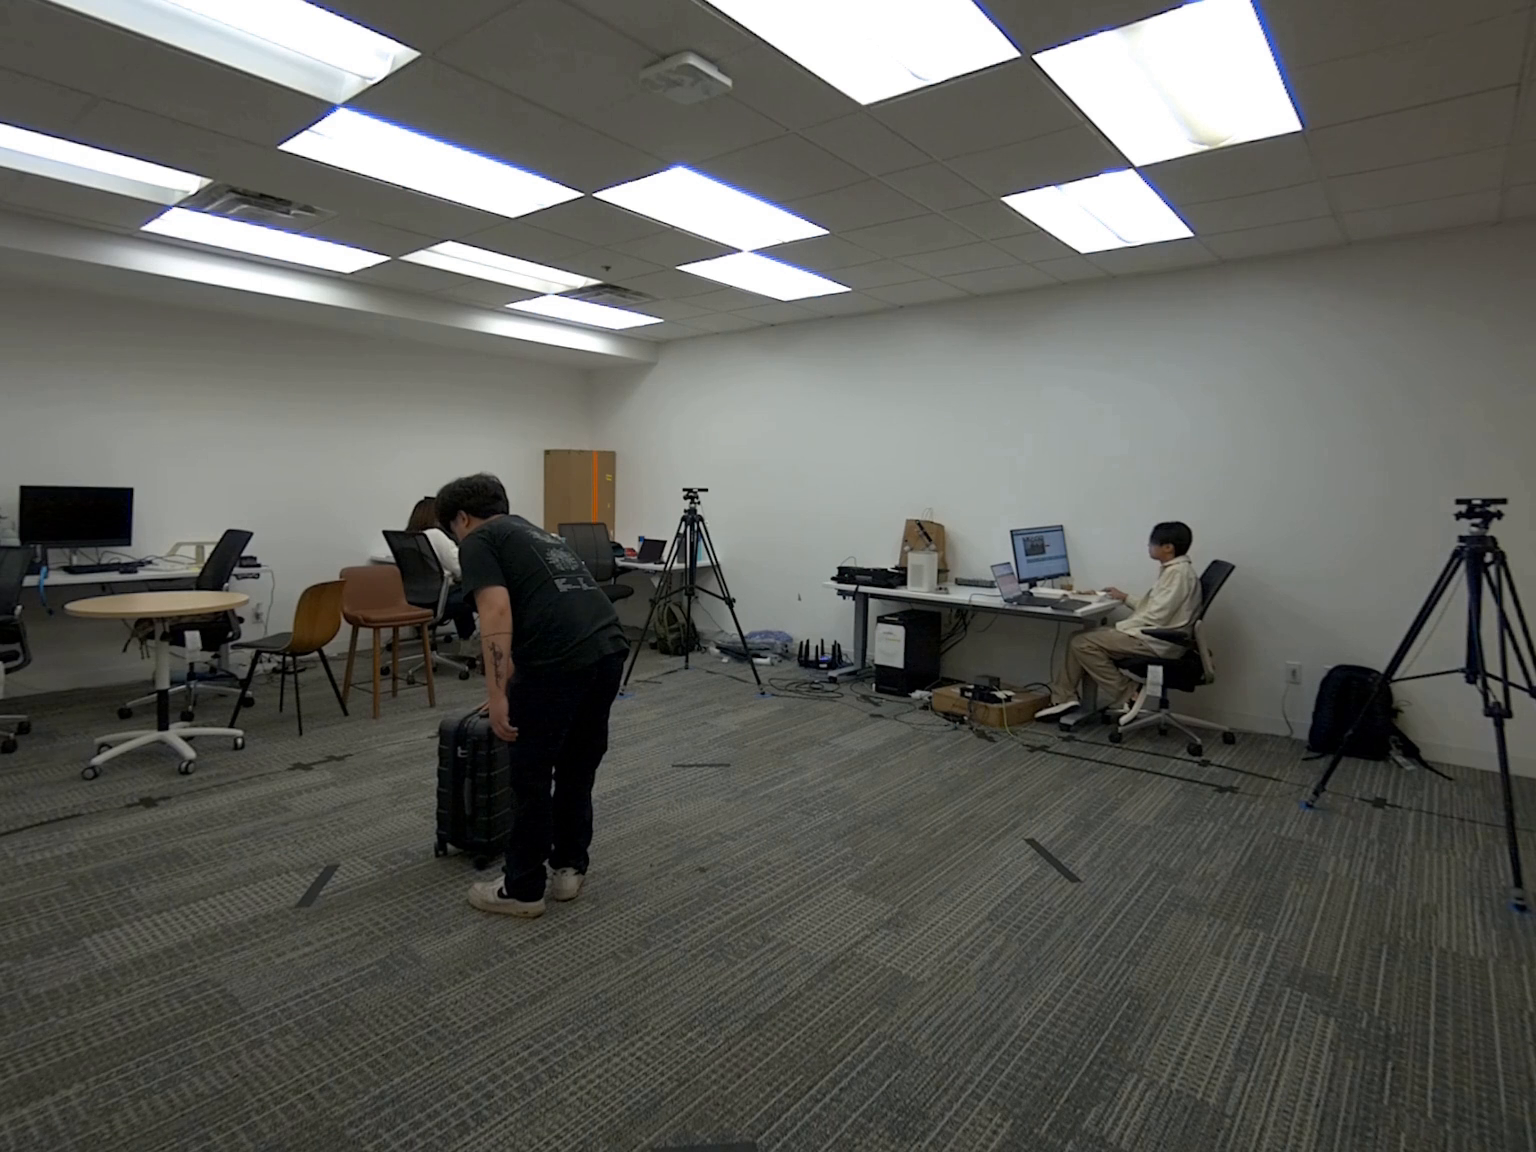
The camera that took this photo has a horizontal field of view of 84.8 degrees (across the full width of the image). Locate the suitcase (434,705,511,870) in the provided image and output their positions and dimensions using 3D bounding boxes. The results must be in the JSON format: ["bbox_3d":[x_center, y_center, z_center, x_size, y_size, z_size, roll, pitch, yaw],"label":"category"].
[{"bbox_3d":[-1.084,0.767,3.253,0.254,0.547,0.368,2,4,21],"label":"suitcase"}]
